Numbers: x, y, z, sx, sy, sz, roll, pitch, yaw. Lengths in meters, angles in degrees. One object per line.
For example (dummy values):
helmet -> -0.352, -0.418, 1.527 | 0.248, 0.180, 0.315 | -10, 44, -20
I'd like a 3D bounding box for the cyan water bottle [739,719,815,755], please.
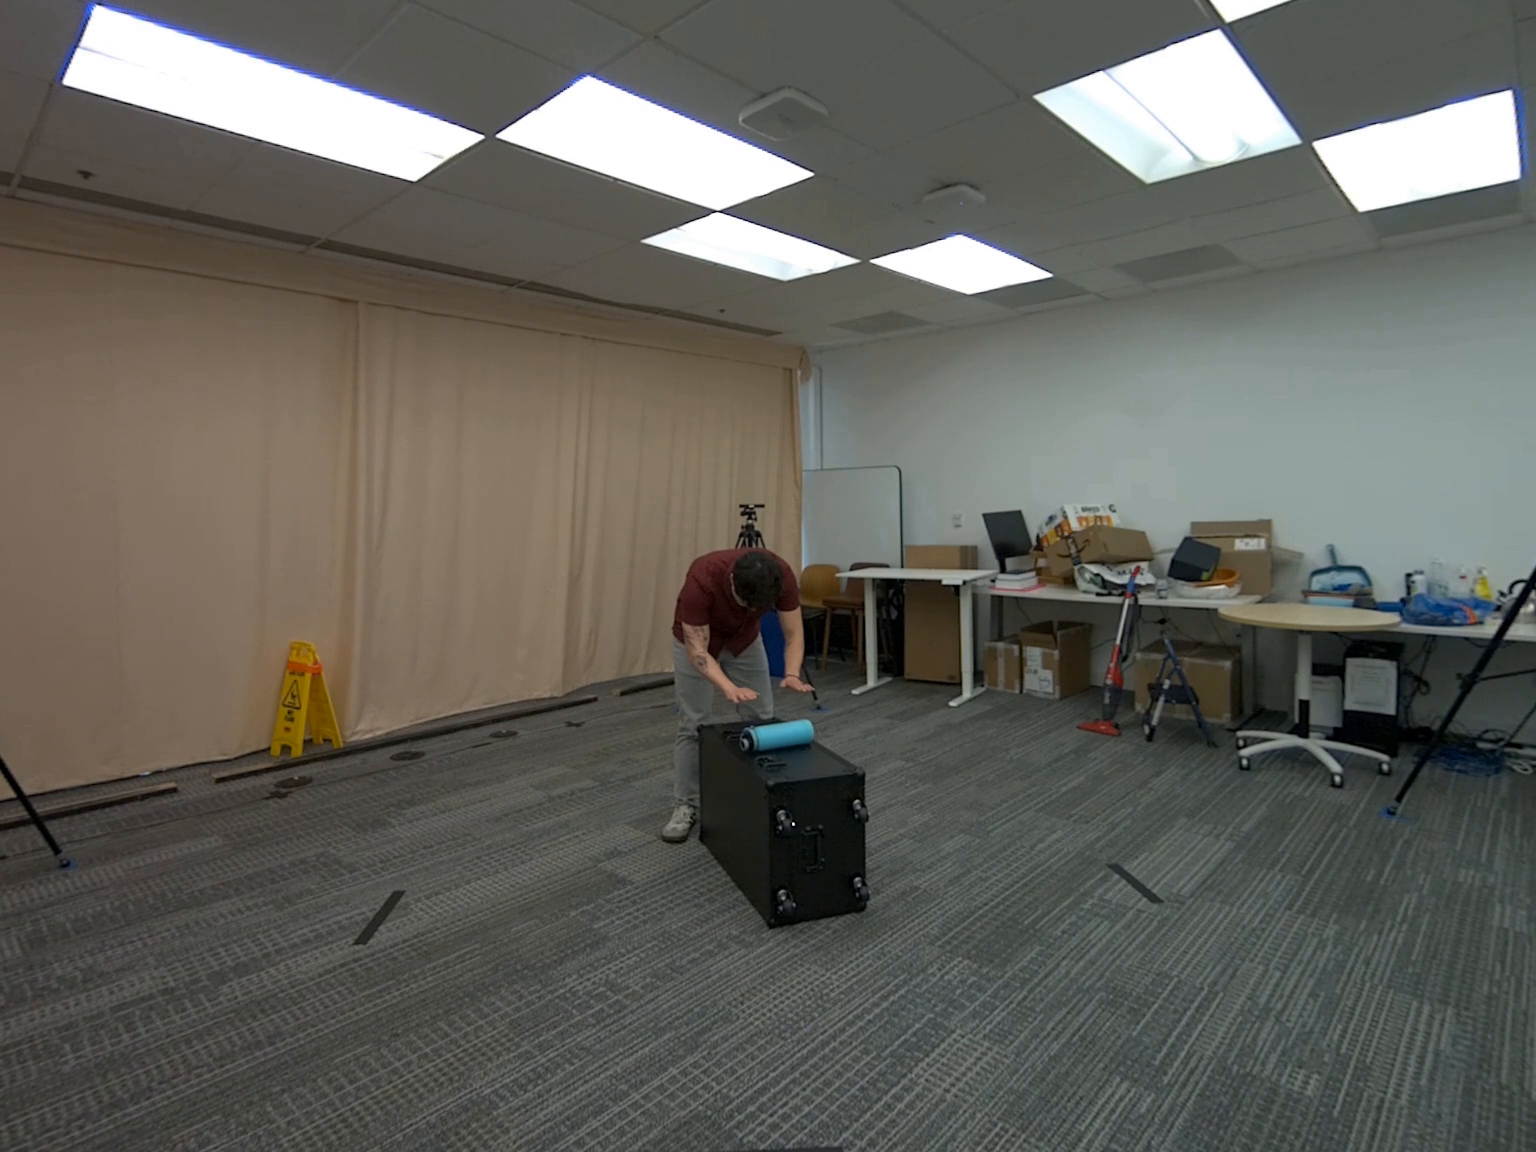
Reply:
cyan water bottle -> 0.034, 0.595, 3.142 | 0.277, 0.092, 0.094 | -6, 6, -22
